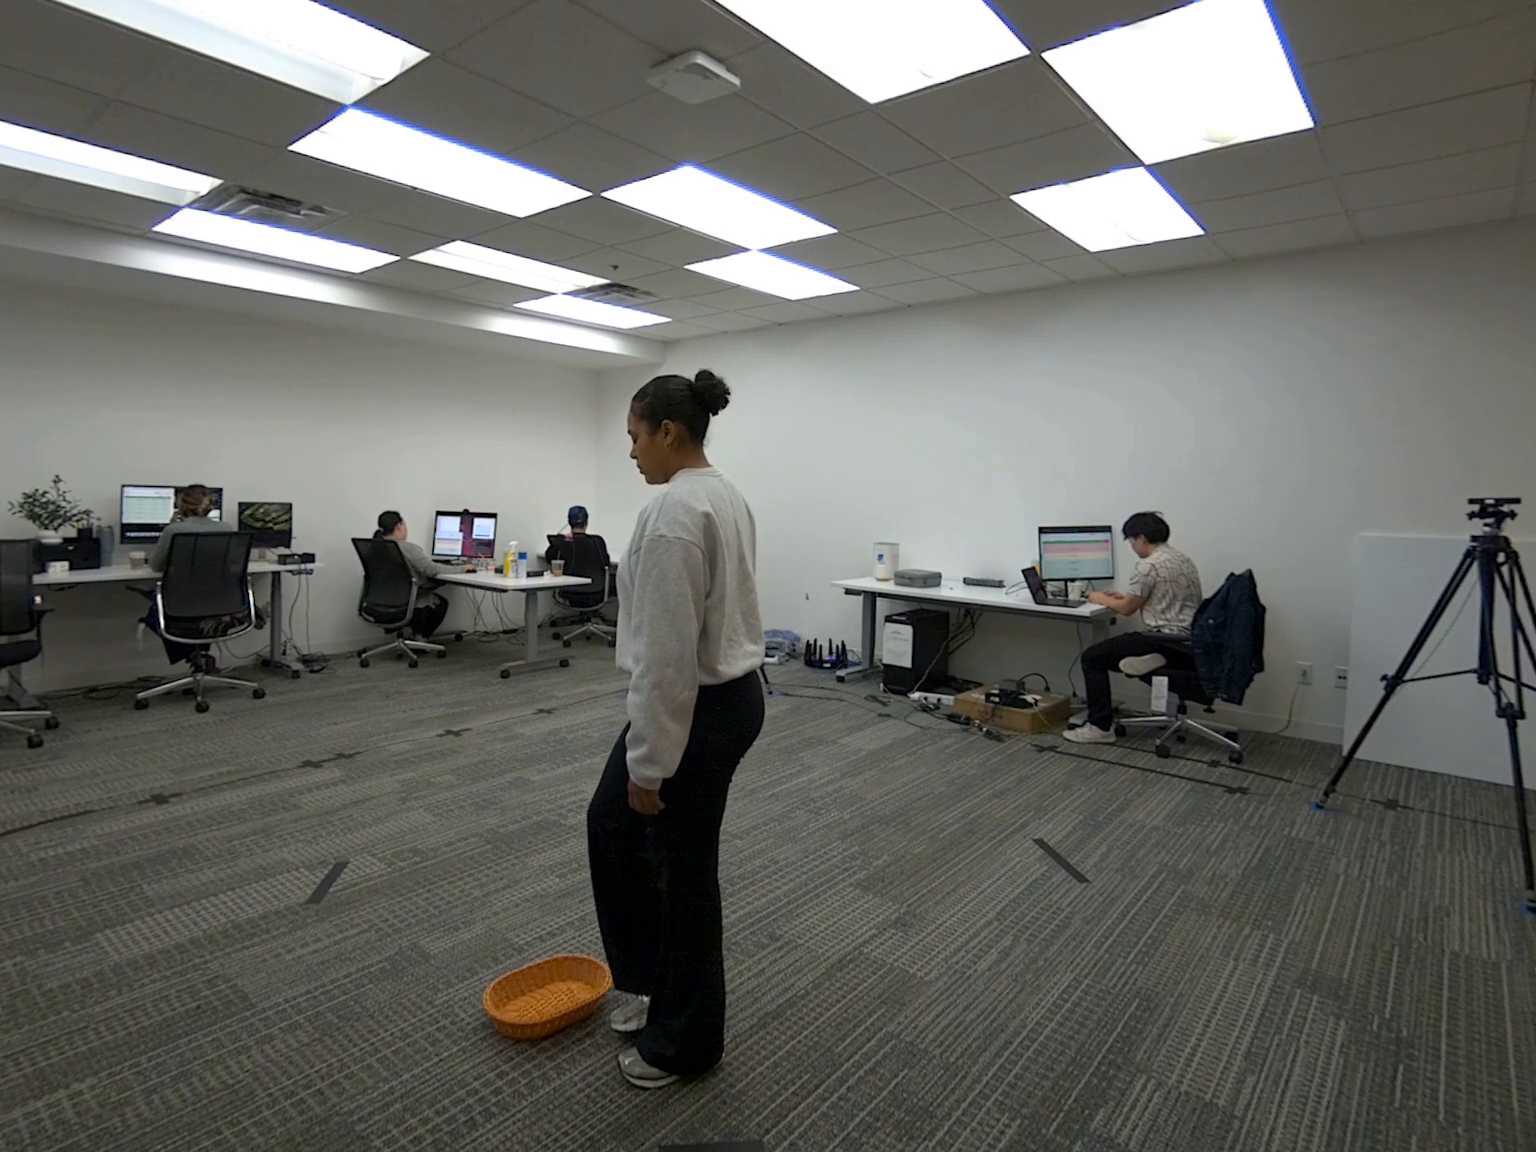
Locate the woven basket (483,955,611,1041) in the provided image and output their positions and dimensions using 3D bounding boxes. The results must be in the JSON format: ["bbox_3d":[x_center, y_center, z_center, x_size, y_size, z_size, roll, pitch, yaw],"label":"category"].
[{"bbox_3d":[-0.590,1.110,2.247,0.340,0.073,0.261,-2,6,-40],"label":"woven basket"}]
